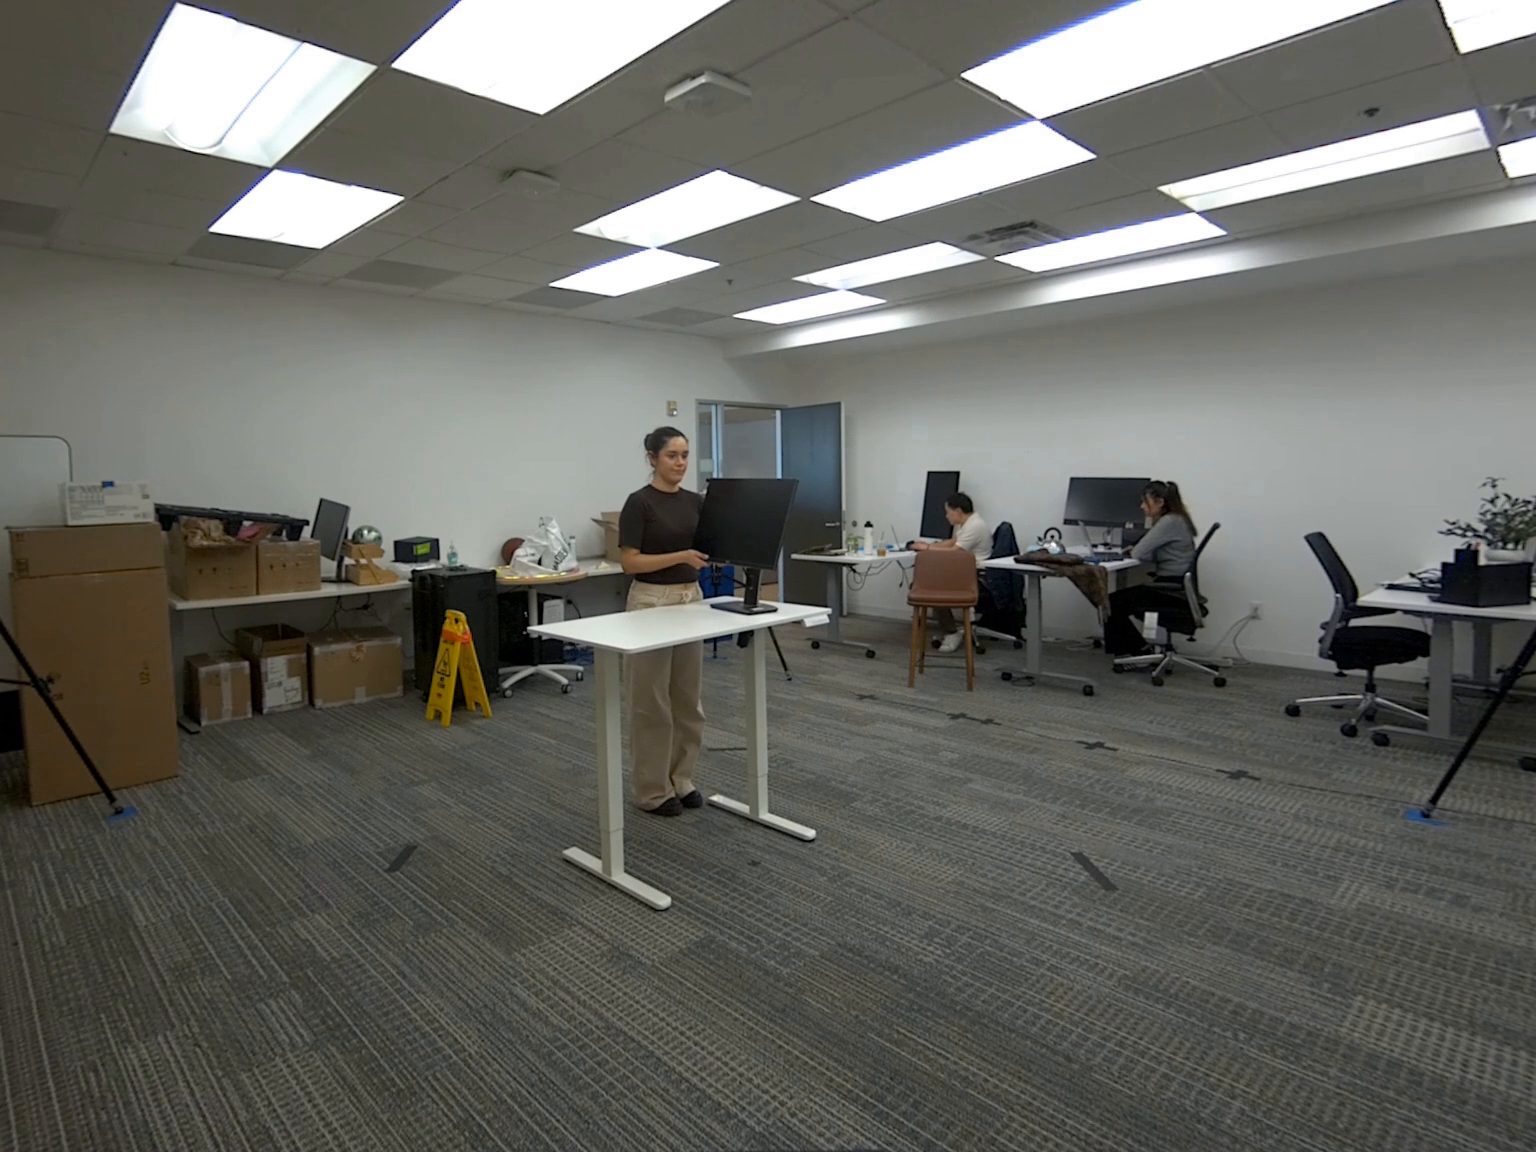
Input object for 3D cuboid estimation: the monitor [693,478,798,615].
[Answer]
[{"bbox_3d":[-0.075,-0.122,3.365,0.182,0.522,0.555,3,3,-36],"label":"monitor"}]
